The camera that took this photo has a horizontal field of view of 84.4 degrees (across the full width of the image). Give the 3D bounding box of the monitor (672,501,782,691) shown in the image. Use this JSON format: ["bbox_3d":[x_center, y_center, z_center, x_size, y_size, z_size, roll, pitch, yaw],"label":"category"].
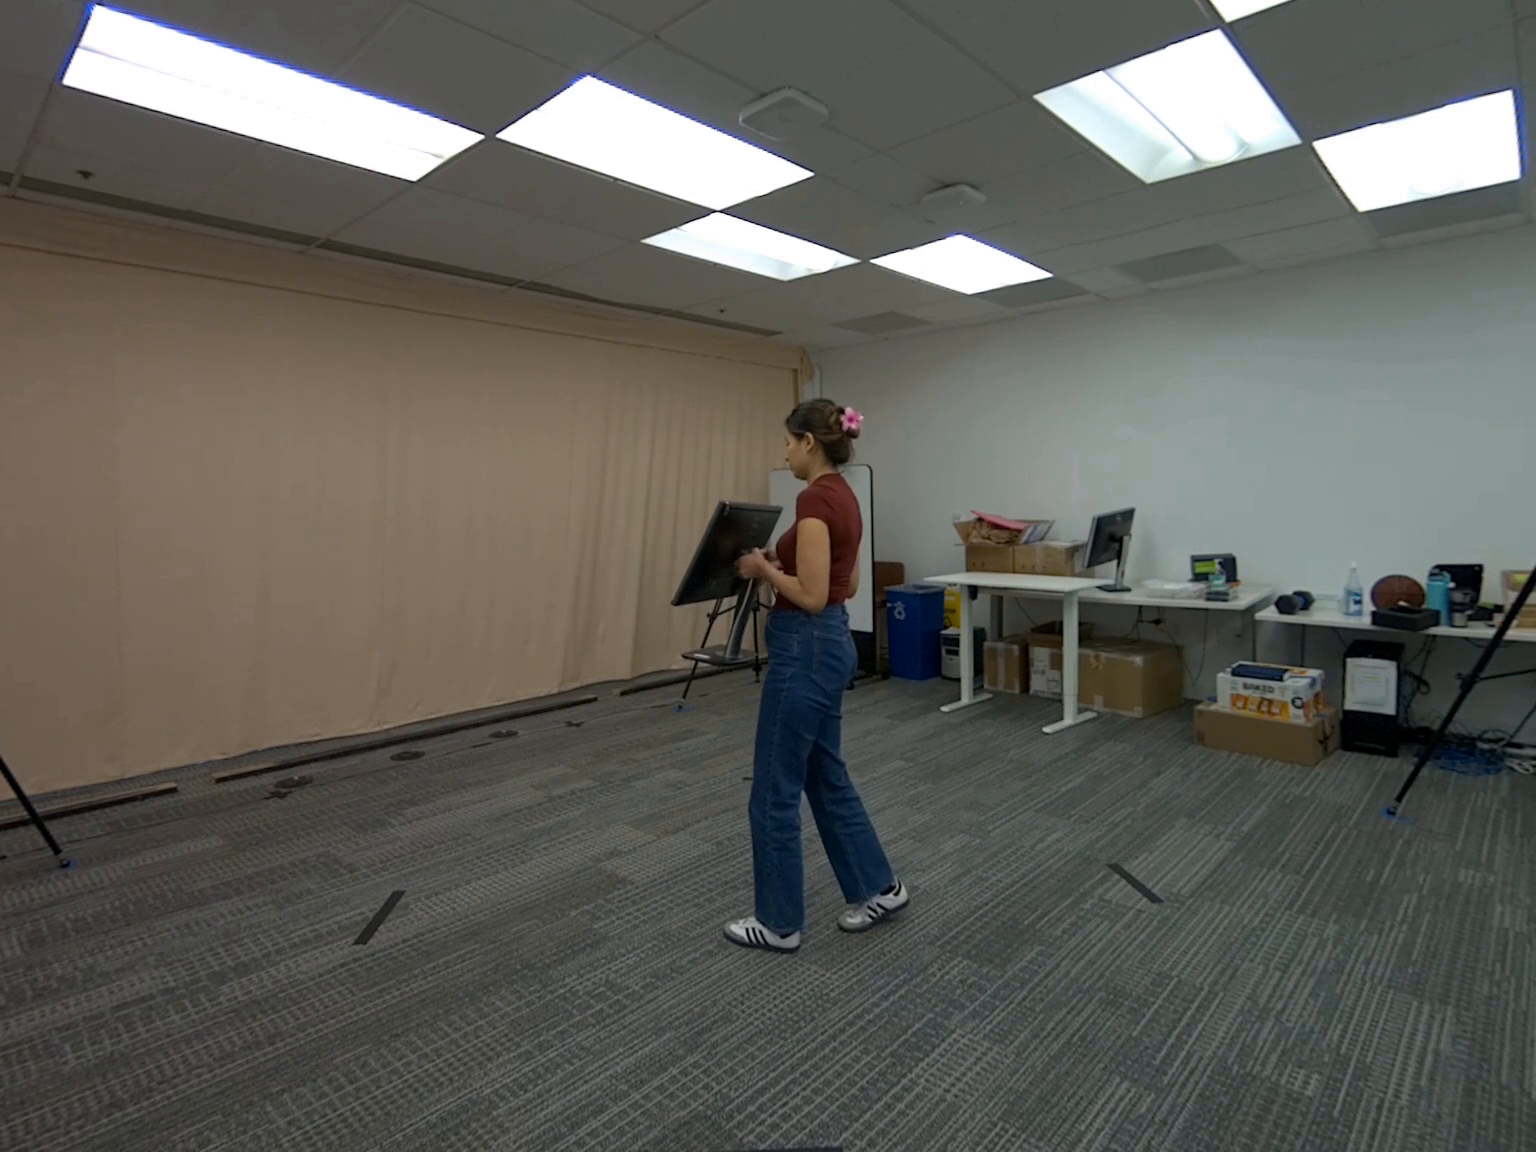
[{"bbox_3d":[-0.106,0.022,2.743,0.191,0.521,0.528,13,6,18],"label":"monitor"}]
